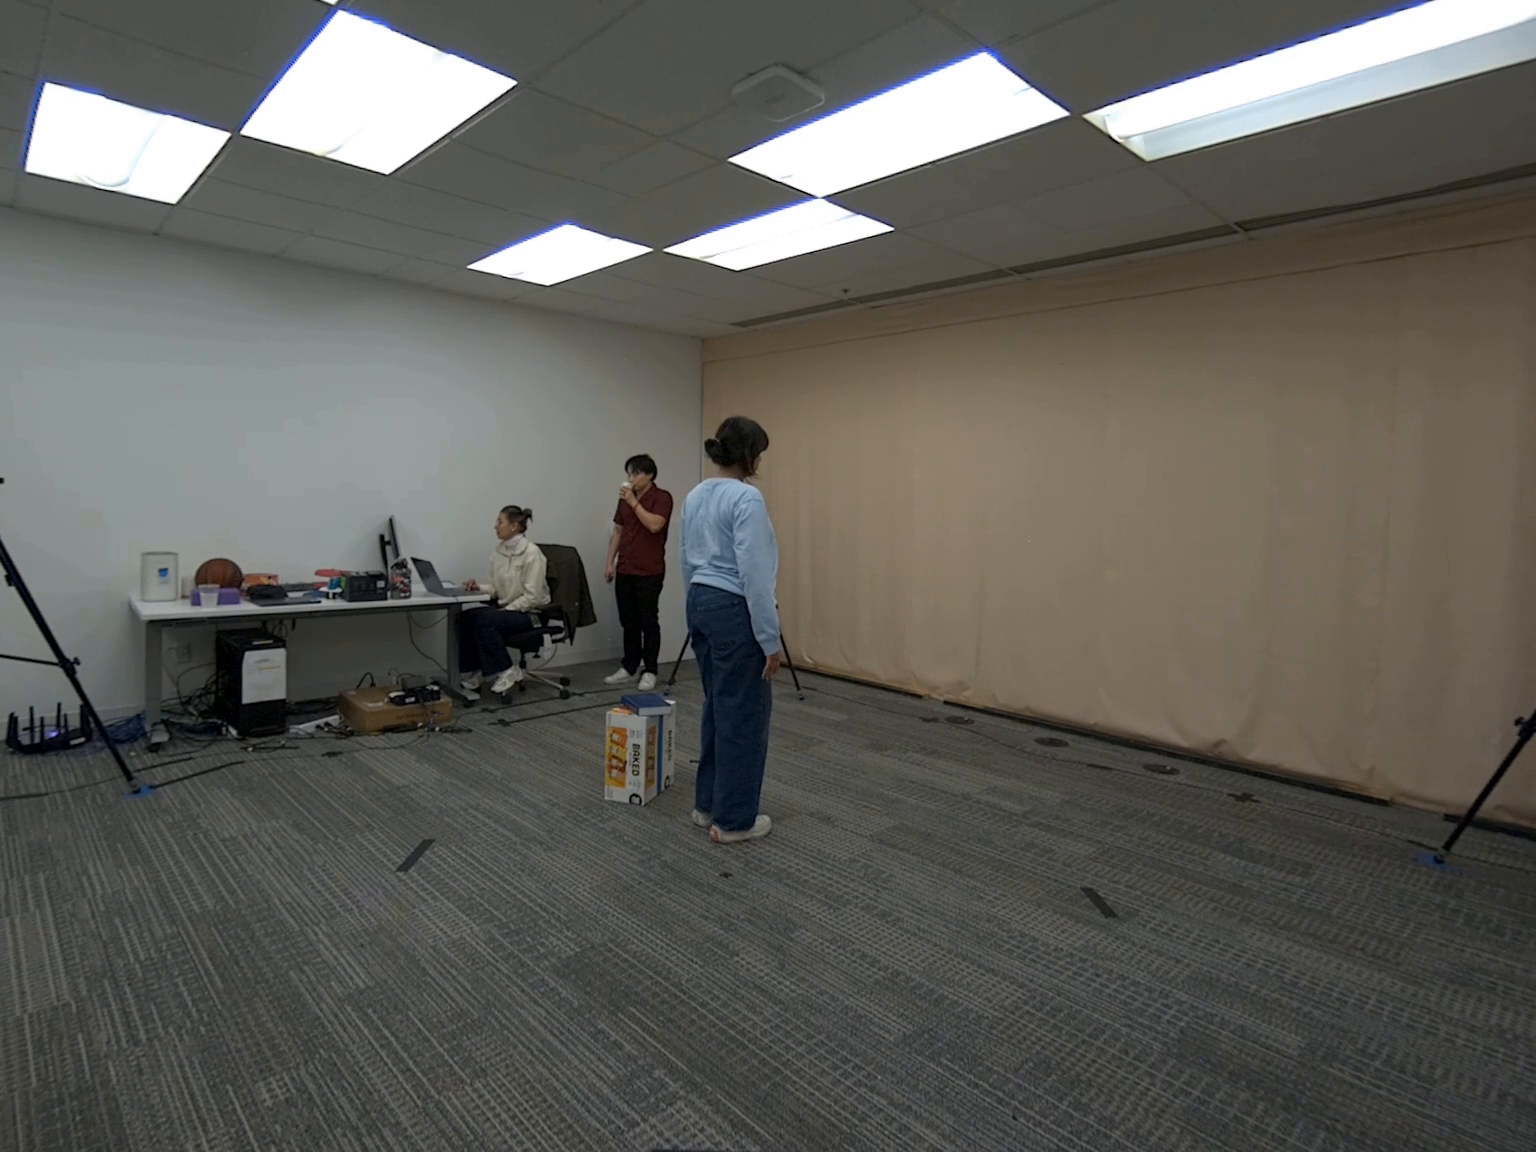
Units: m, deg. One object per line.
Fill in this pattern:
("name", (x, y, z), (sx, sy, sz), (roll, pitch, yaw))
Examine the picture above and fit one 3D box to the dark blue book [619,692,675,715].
("dark blue book", (-0.581, 0.598, 3.935), (0.160, 0.045, 0.250), (0, 6, -27))
